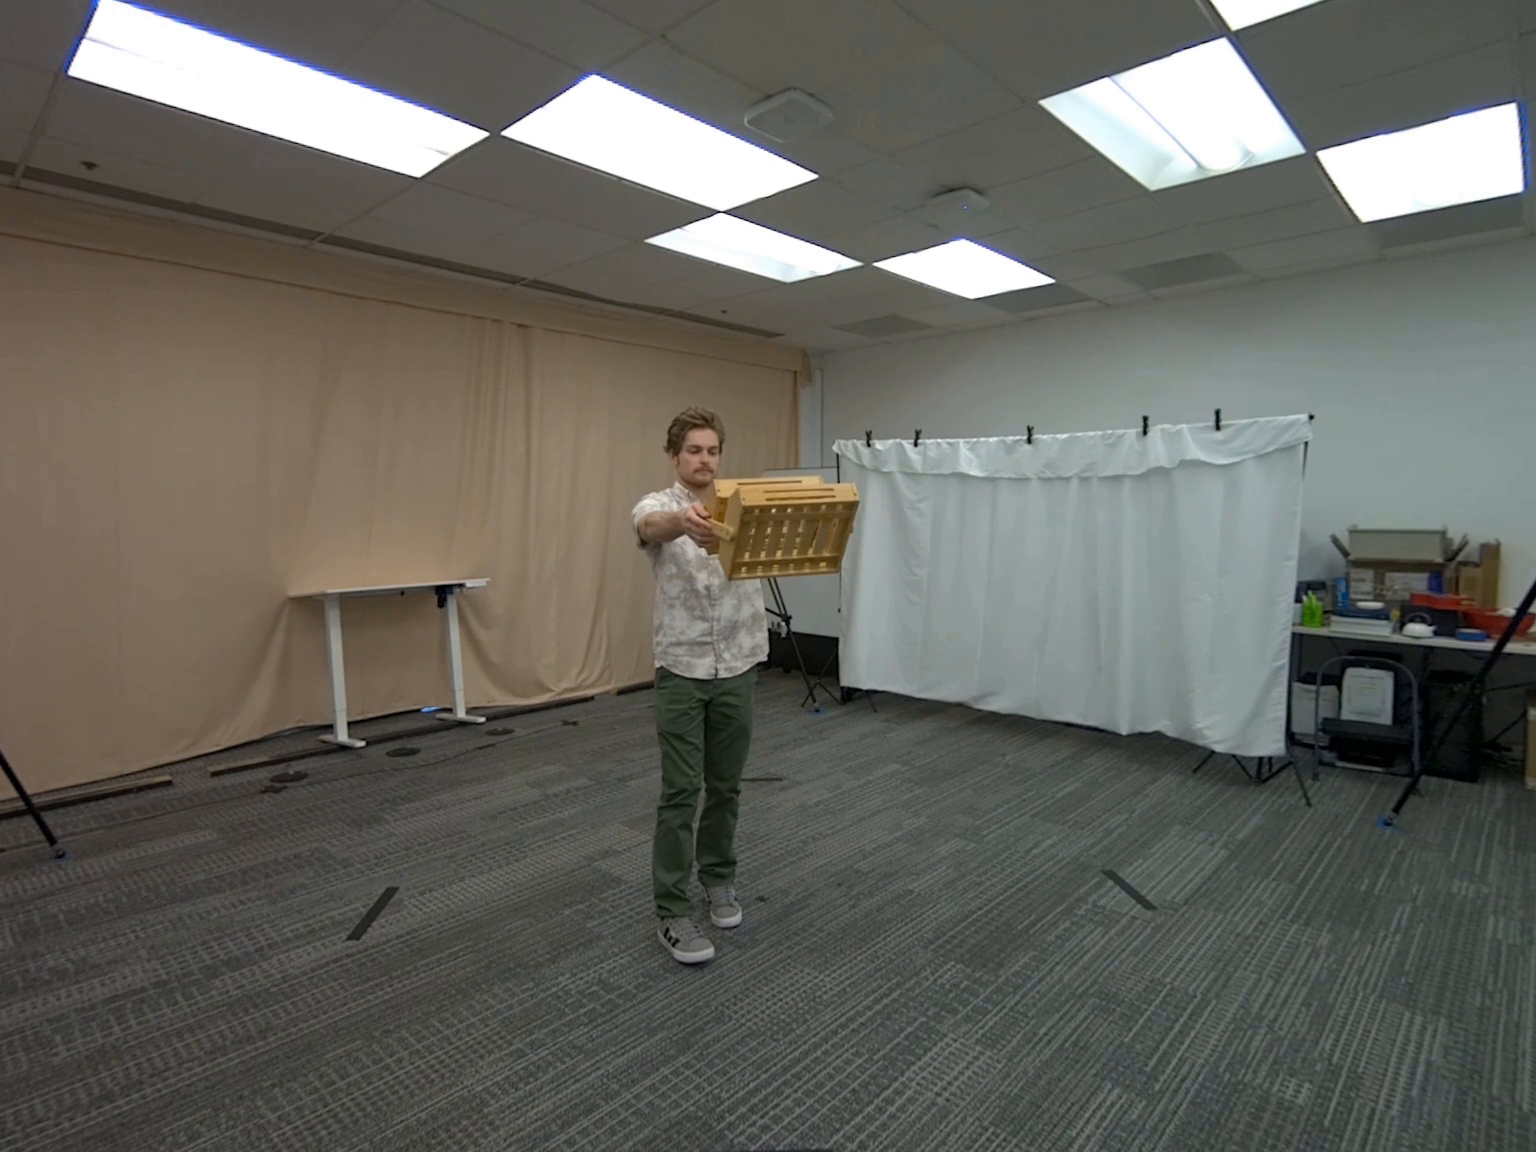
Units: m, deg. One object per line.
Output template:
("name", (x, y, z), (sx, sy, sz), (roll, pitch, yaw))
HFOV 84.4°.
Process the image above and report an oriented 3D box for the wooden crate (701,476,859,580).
("wooden crate", (0.020, -0.162, 2.170), (0.319, 0.298, 0.281), (-3, 40, -18))
